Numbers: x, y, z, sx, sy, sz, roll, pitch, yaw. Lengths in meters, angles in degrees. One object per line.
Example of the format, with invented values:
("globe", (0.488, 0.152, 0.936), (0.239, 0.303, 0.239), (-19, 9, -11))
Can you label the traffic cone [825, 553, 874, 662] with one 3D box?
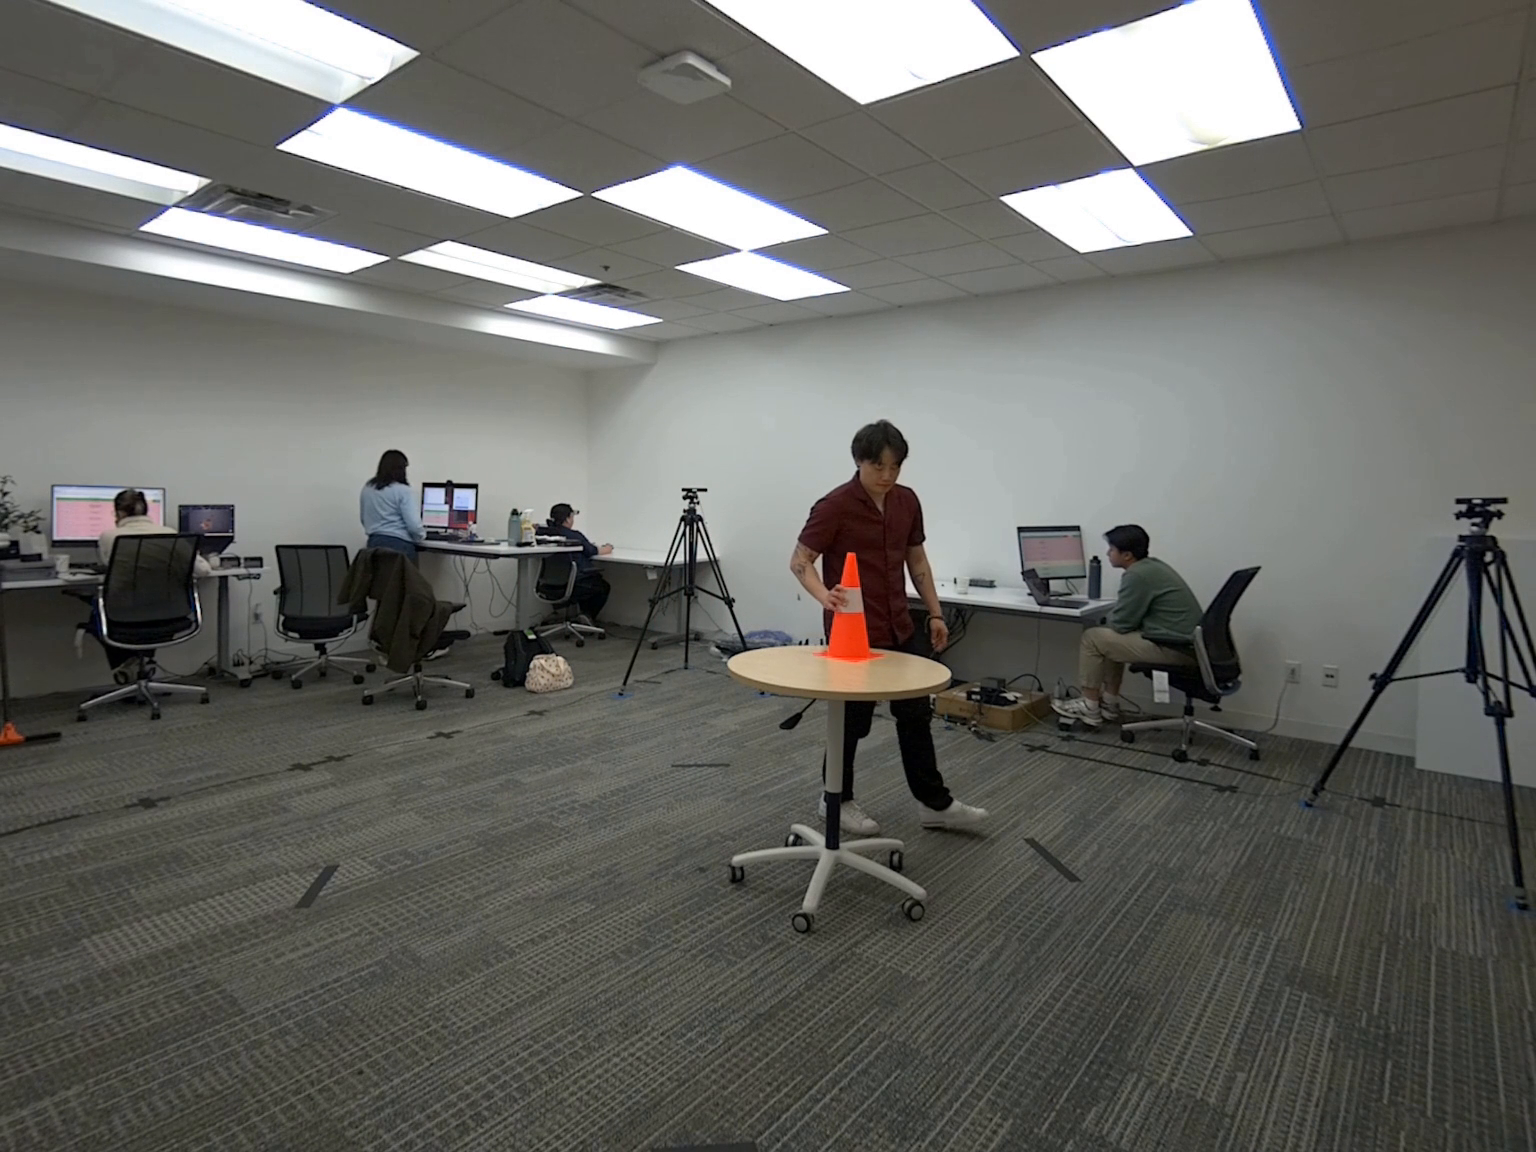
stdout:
("traffic cone", (0.301, 0.107, 3.137), (0.212, 0.382, 0.198), (6, 6, 35))
